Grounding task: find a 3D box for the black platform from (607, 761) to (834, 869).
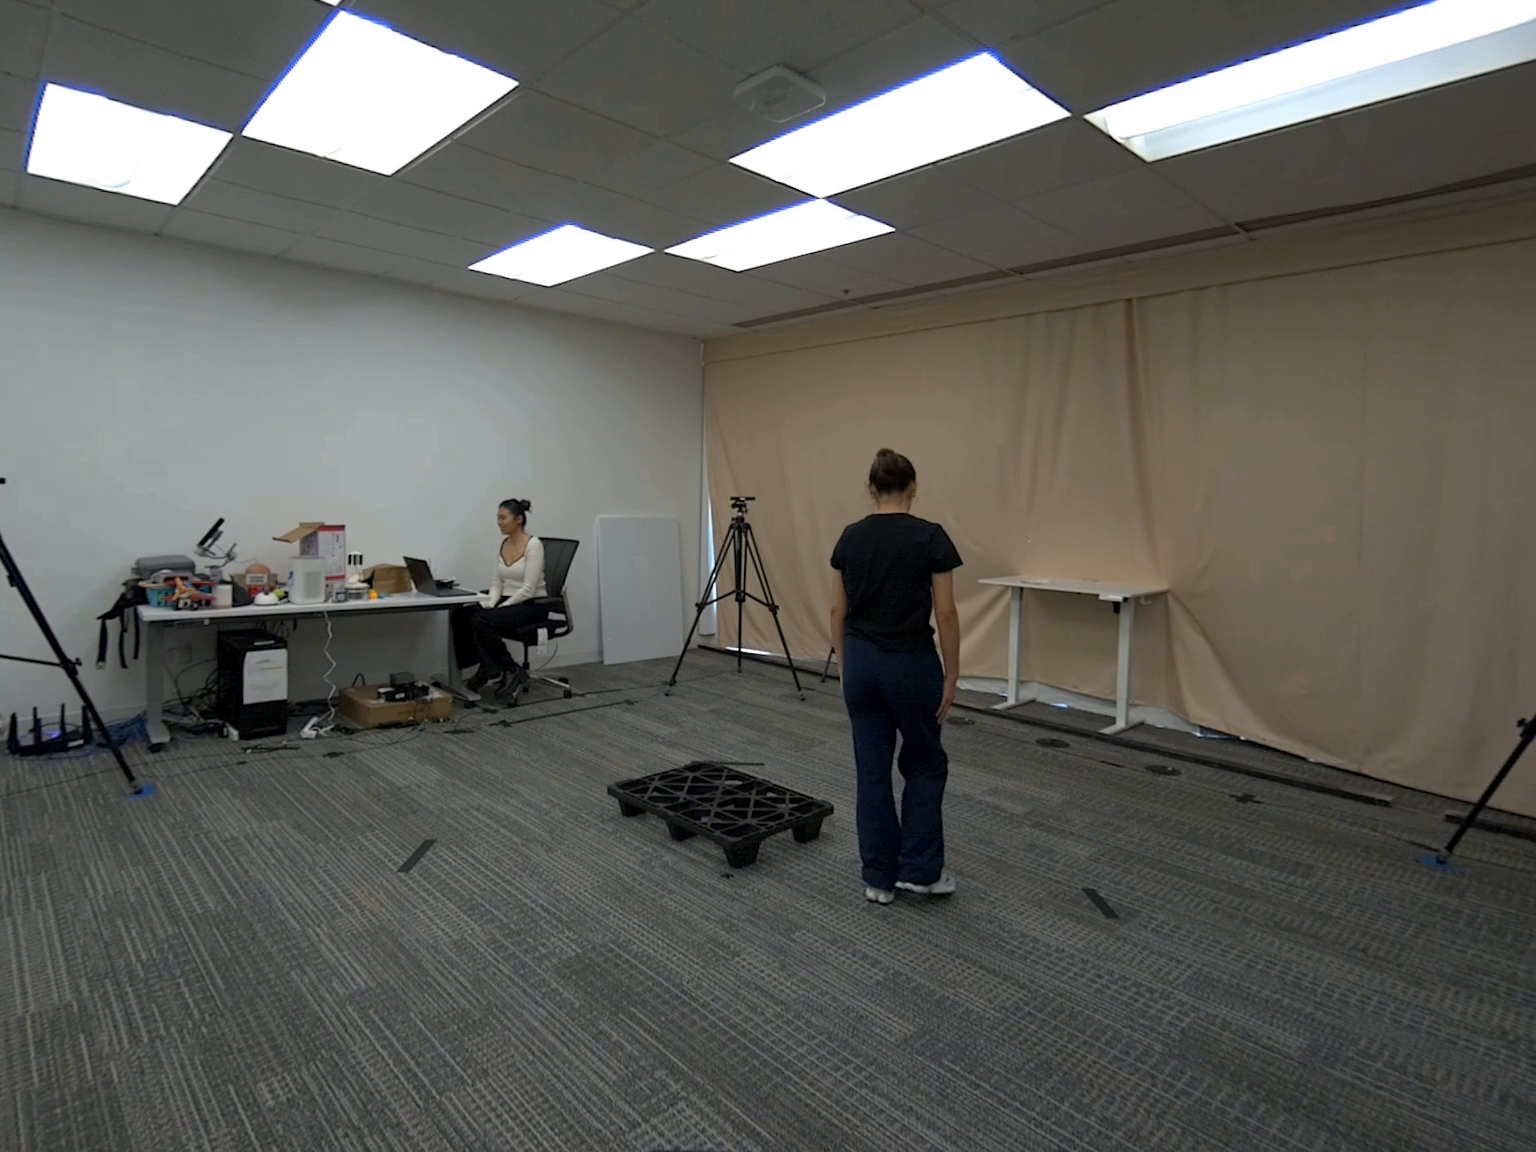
[{"bbox_3d":[-0.218,1.000,3.561,0.591,0.143,0.826,-4,7,-45],"label":"black platform"}]
